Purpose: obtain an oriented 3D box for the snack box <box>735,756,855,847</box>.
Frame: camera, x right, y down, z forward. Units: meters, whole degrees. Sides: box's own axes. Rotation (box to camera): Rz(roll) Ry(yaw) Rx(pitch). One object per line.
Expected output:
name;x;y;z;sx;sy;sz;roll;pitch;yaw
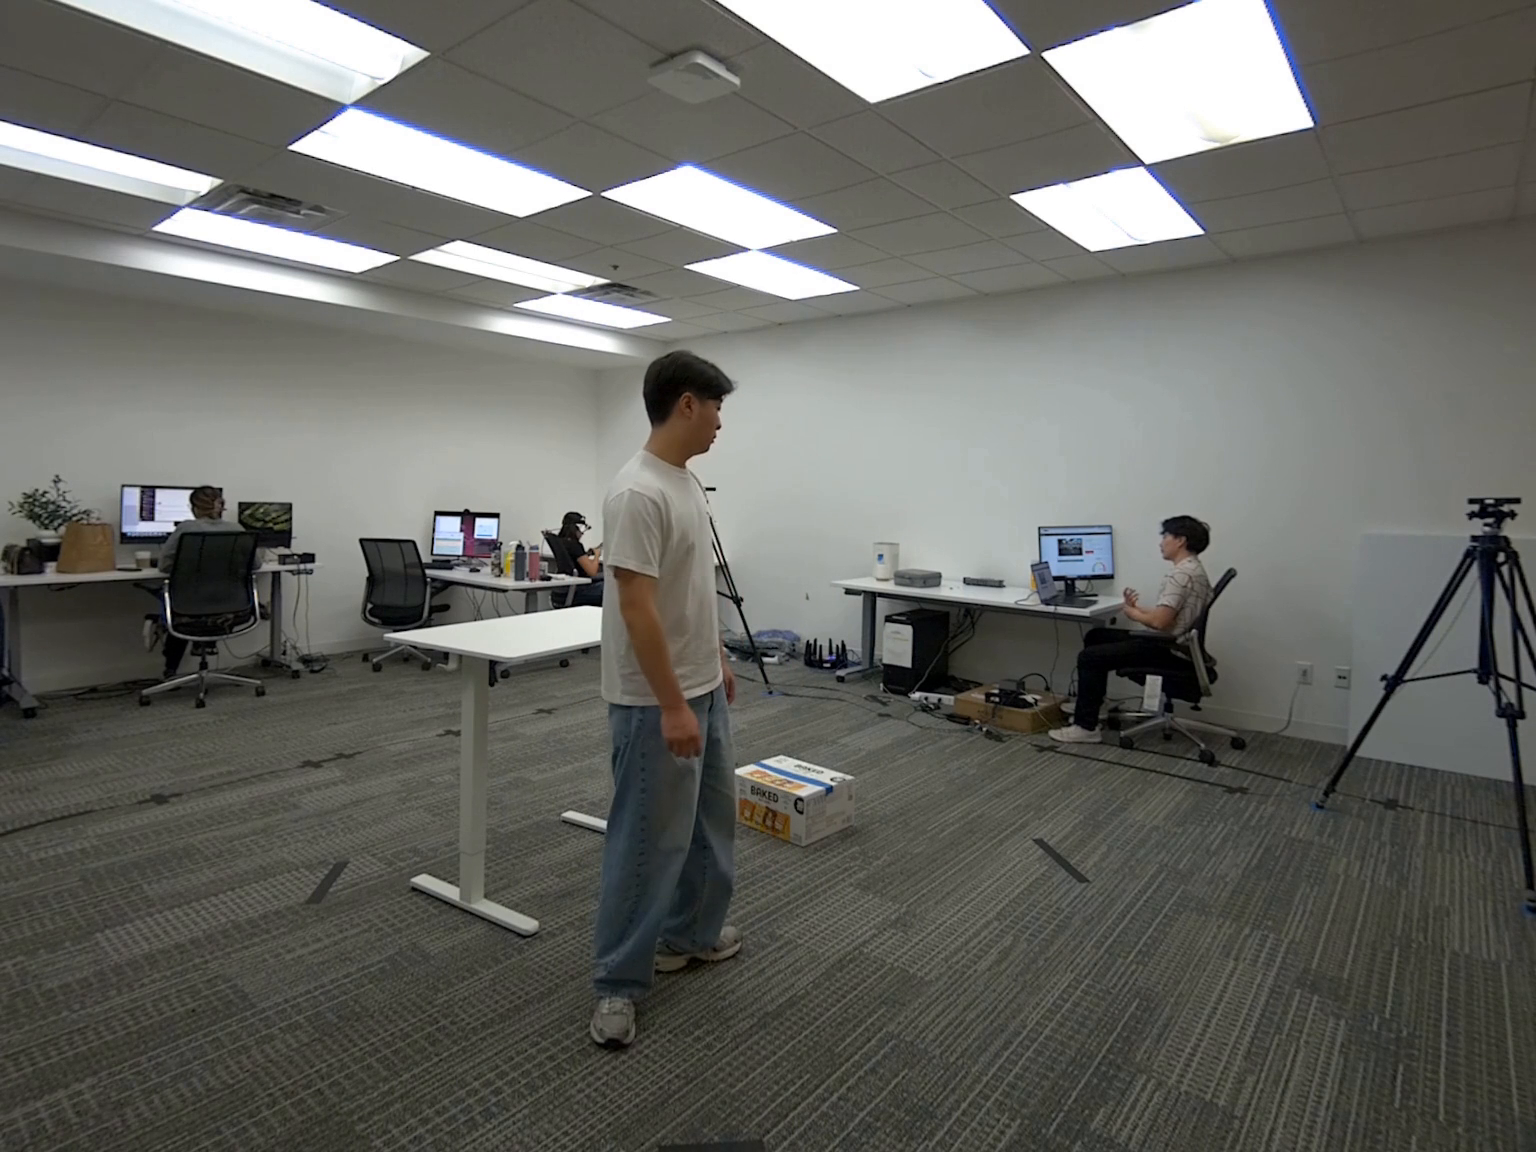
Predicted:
snack box;0.088;0.926;3.555;0.419;0.205;0.330;6;7;42
